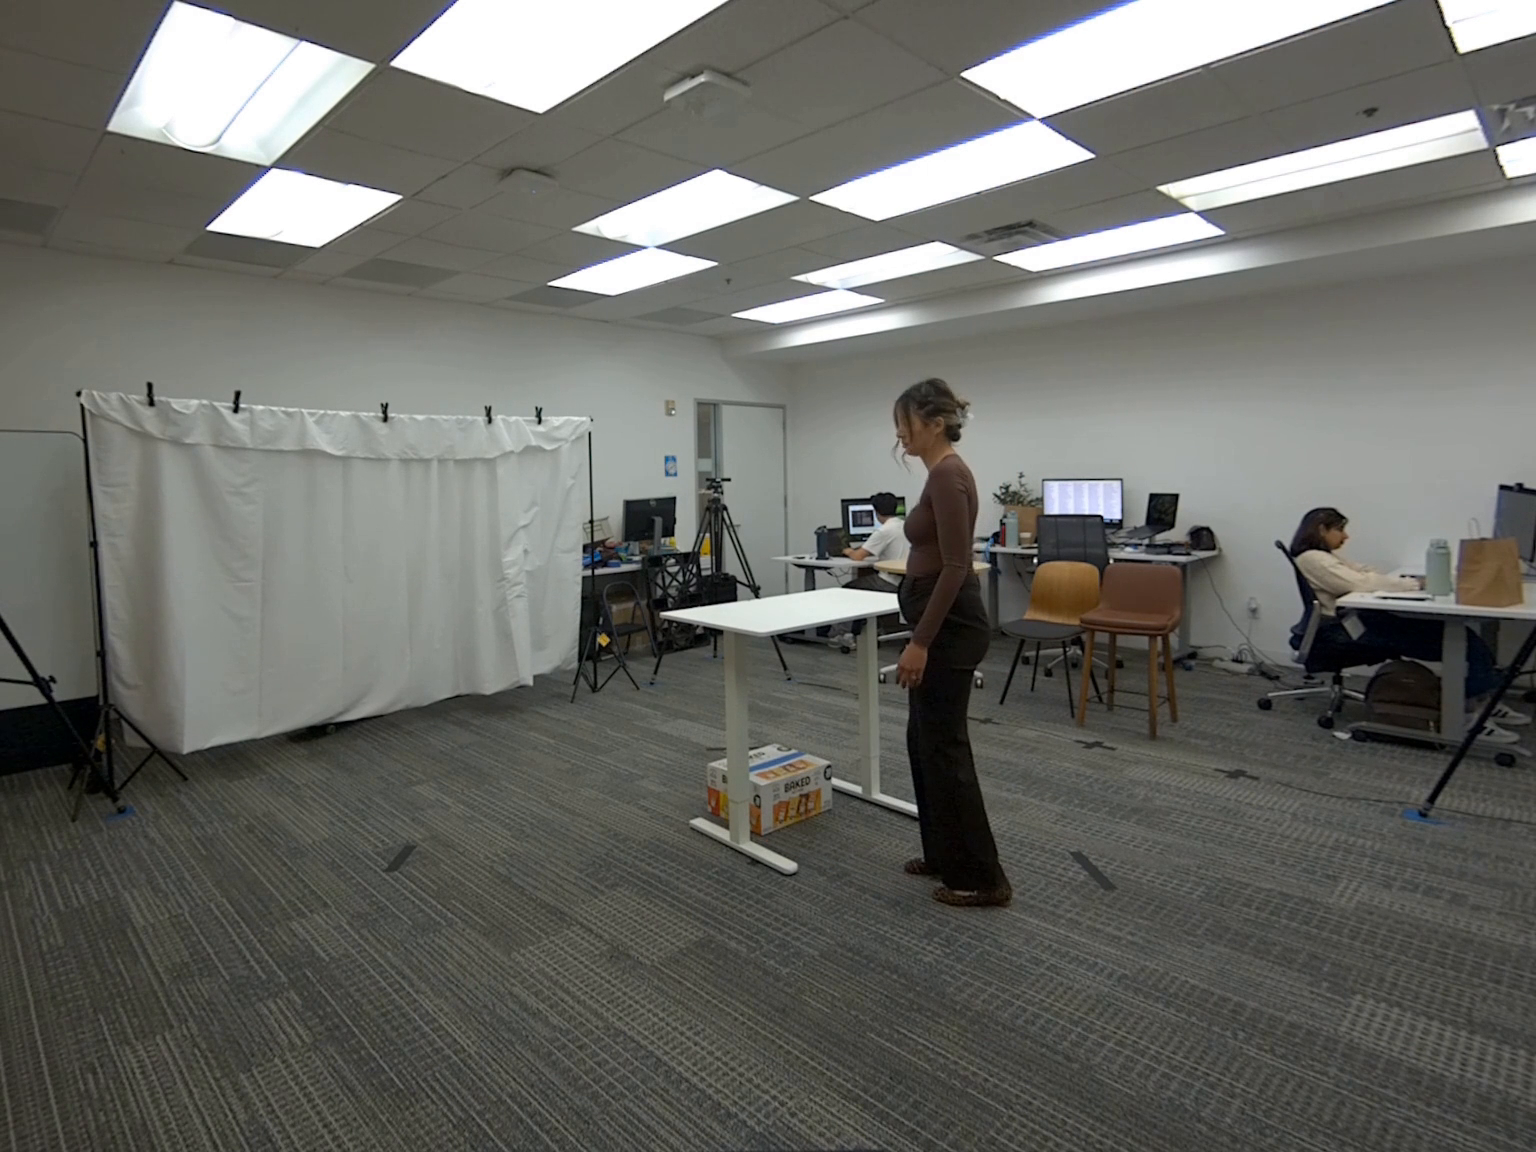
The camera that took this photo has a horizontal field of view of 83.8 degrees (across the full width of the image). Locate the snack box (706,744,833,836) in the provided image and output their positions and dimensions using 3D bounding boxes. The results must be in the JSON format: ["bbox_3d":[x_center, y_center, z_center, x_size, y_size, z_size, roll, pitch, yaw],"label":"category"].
[{"bbox_3d":[0.007,0.886,3.587,0.394,0.205,0.351,-6,8,-41],"label":"snack box"}]
